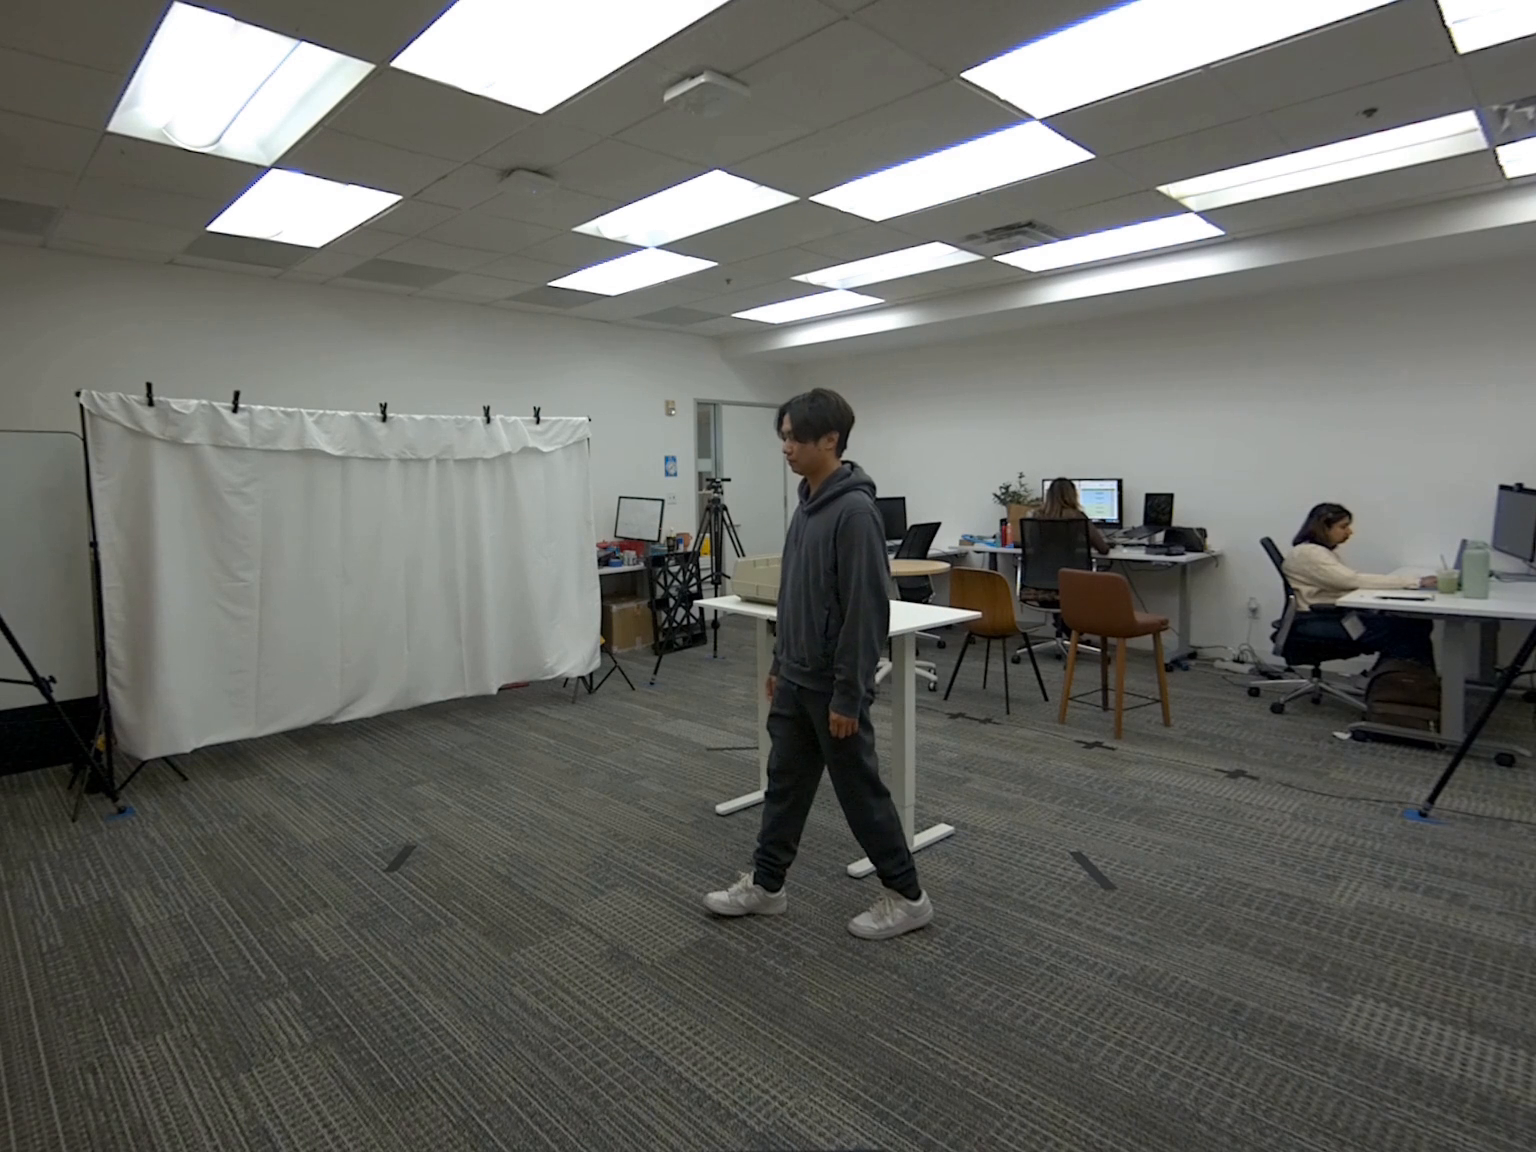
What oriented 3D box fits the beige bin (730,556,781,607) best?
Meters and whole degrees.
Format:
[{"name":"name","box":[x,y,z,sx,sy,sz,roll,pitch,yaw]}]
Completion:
[{"name":"beige bin","box":[0.125,0.021,3.510,0.367,0.188,0.435,-6,8,-41]}]
